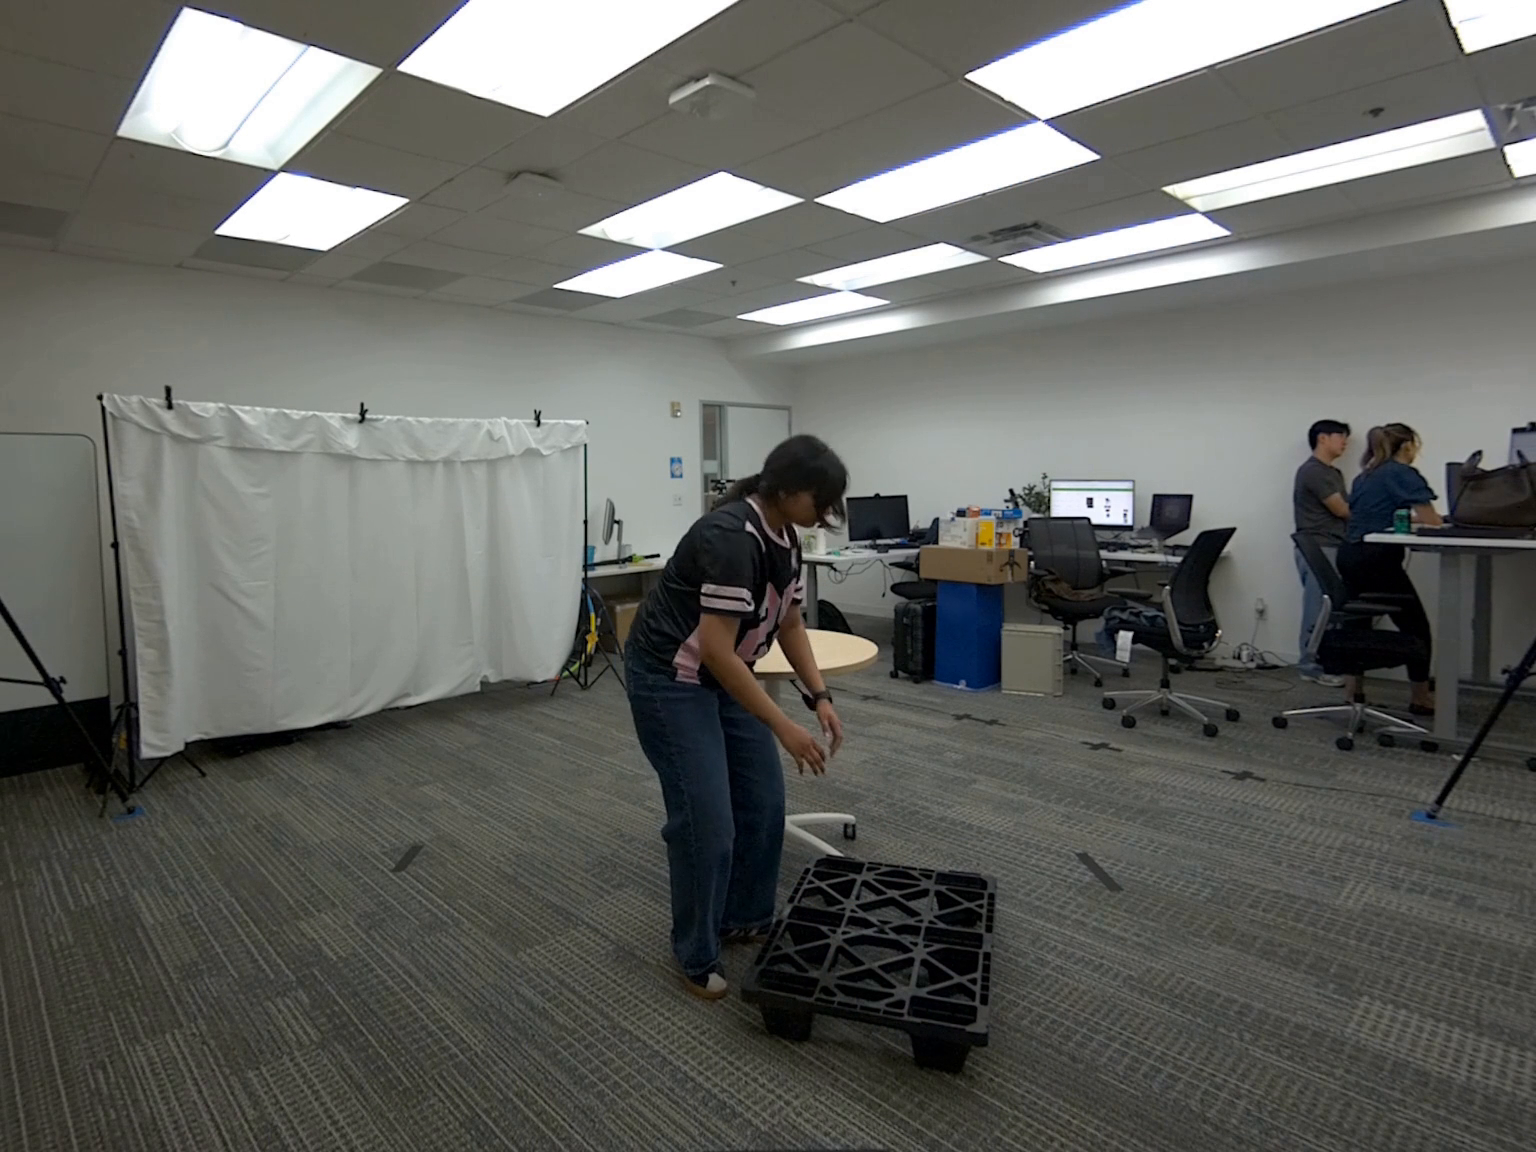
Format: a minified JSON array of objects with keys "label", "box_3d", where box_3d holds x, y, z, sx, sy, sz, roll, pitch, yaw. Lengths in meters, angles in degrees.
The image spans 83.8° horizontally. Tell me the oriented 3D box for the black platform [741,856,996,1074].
[{"label":"black platform","box_3d":[0.326,1.054,2.411,0.616,0.143,0.795,0,6,17]}]
